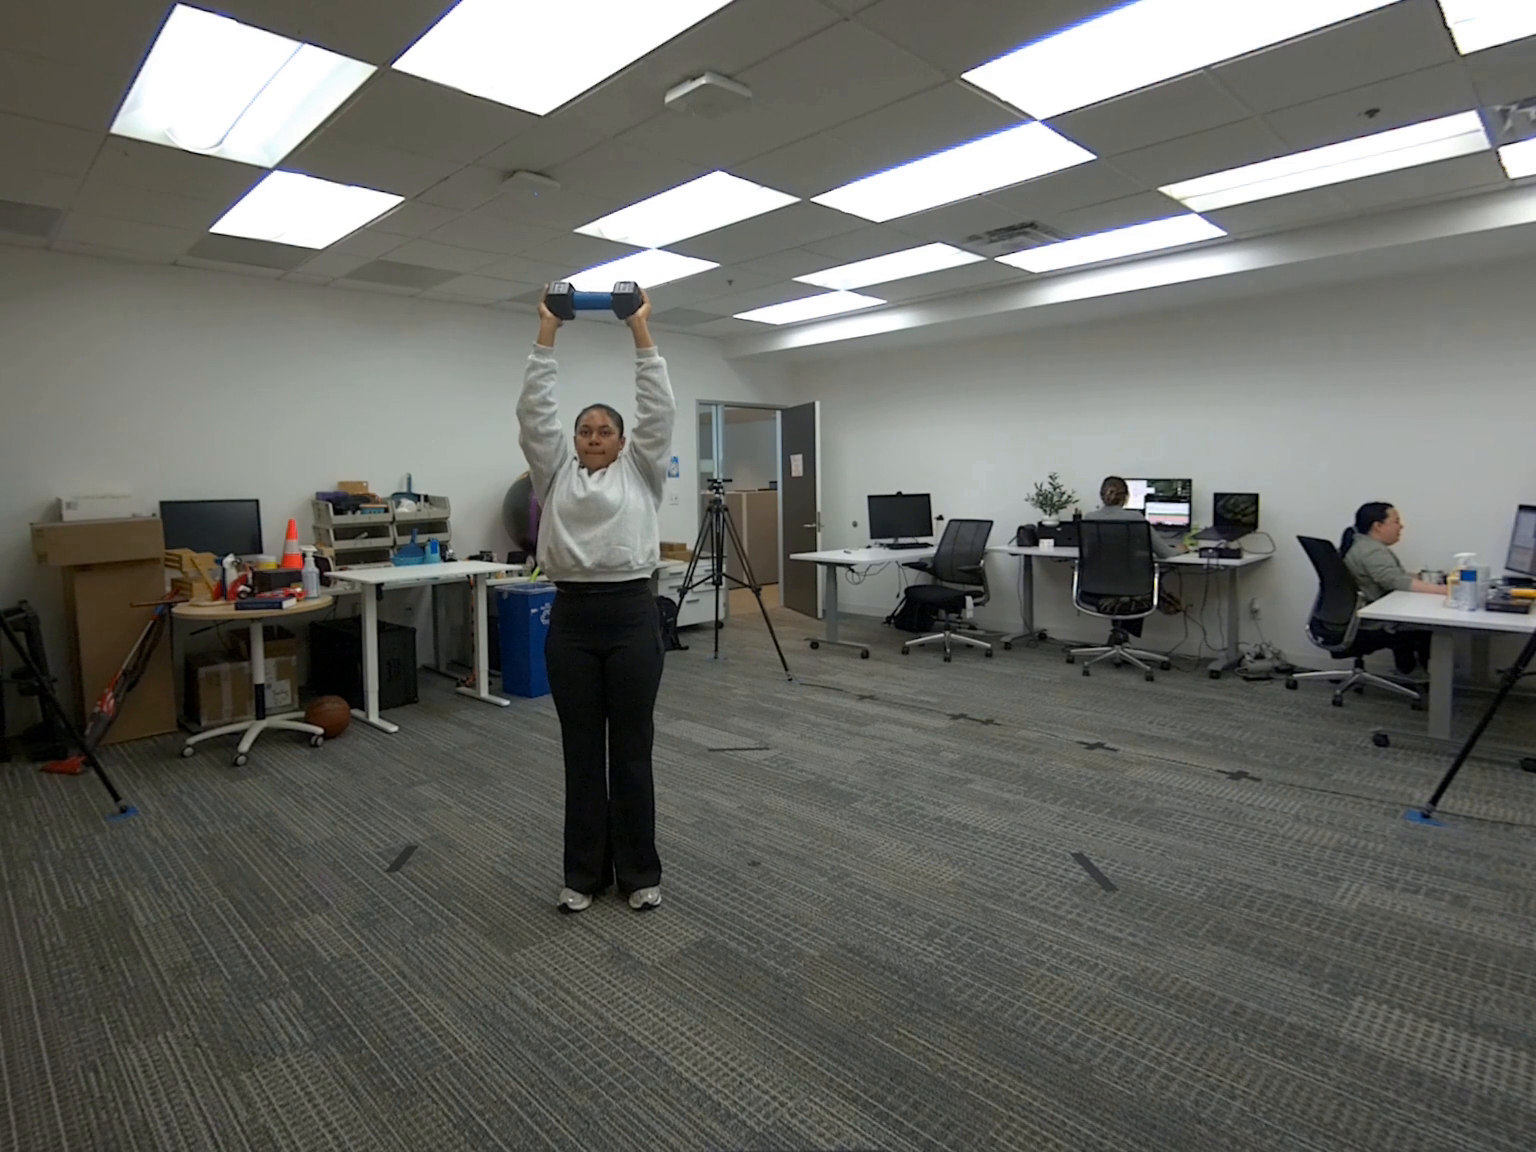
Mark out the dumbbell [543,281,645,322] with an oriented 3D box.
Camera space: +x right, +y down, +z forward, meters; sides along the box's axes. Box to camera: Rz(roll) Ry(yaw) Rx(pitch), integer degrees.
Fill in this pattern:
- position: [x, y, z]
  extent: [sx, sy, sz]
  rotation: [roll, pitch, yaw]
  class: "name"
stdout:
- position: [-0.554, -0.877, 2.723]
  extent: [0.296, 0.120, 0.110]
  rotation: [1, 28, 8]
  class: "dumbbell"
